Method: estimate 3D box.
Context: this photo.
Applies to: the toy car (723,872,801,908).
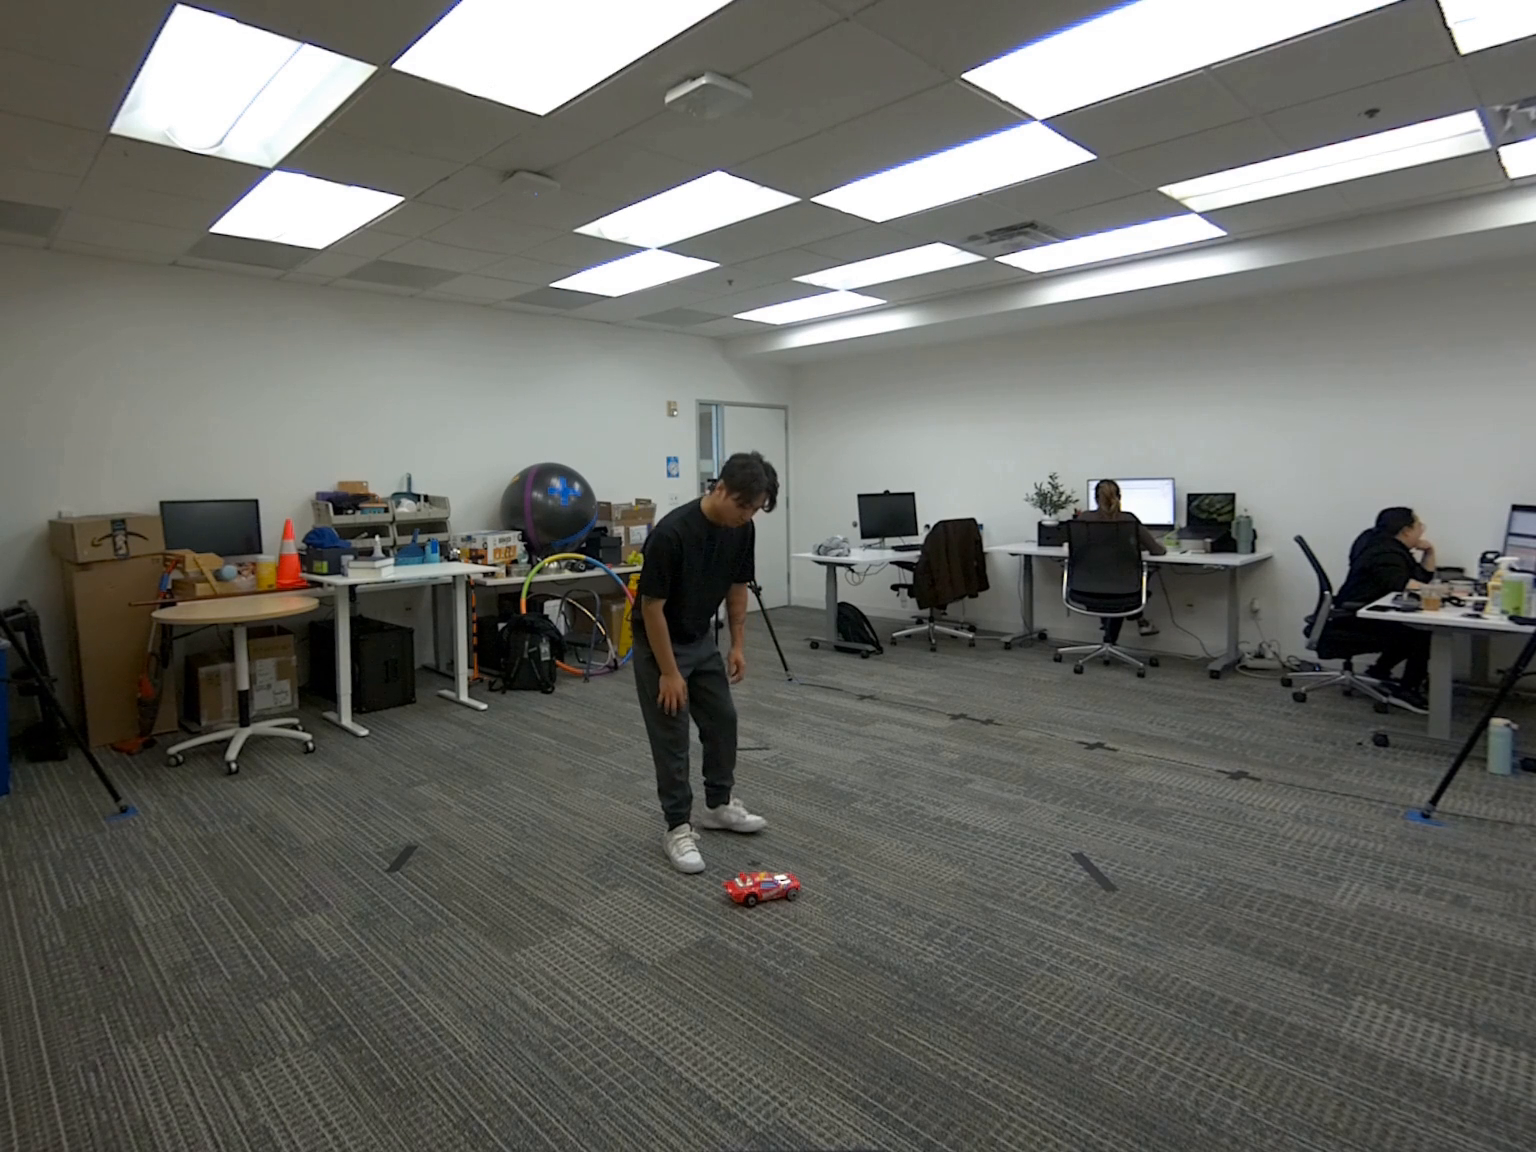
[{"bbox_3d":[-0.023,1.047,2.851,0.250,0.083,0.133,8,3,-17],"label":"toy car"}]
